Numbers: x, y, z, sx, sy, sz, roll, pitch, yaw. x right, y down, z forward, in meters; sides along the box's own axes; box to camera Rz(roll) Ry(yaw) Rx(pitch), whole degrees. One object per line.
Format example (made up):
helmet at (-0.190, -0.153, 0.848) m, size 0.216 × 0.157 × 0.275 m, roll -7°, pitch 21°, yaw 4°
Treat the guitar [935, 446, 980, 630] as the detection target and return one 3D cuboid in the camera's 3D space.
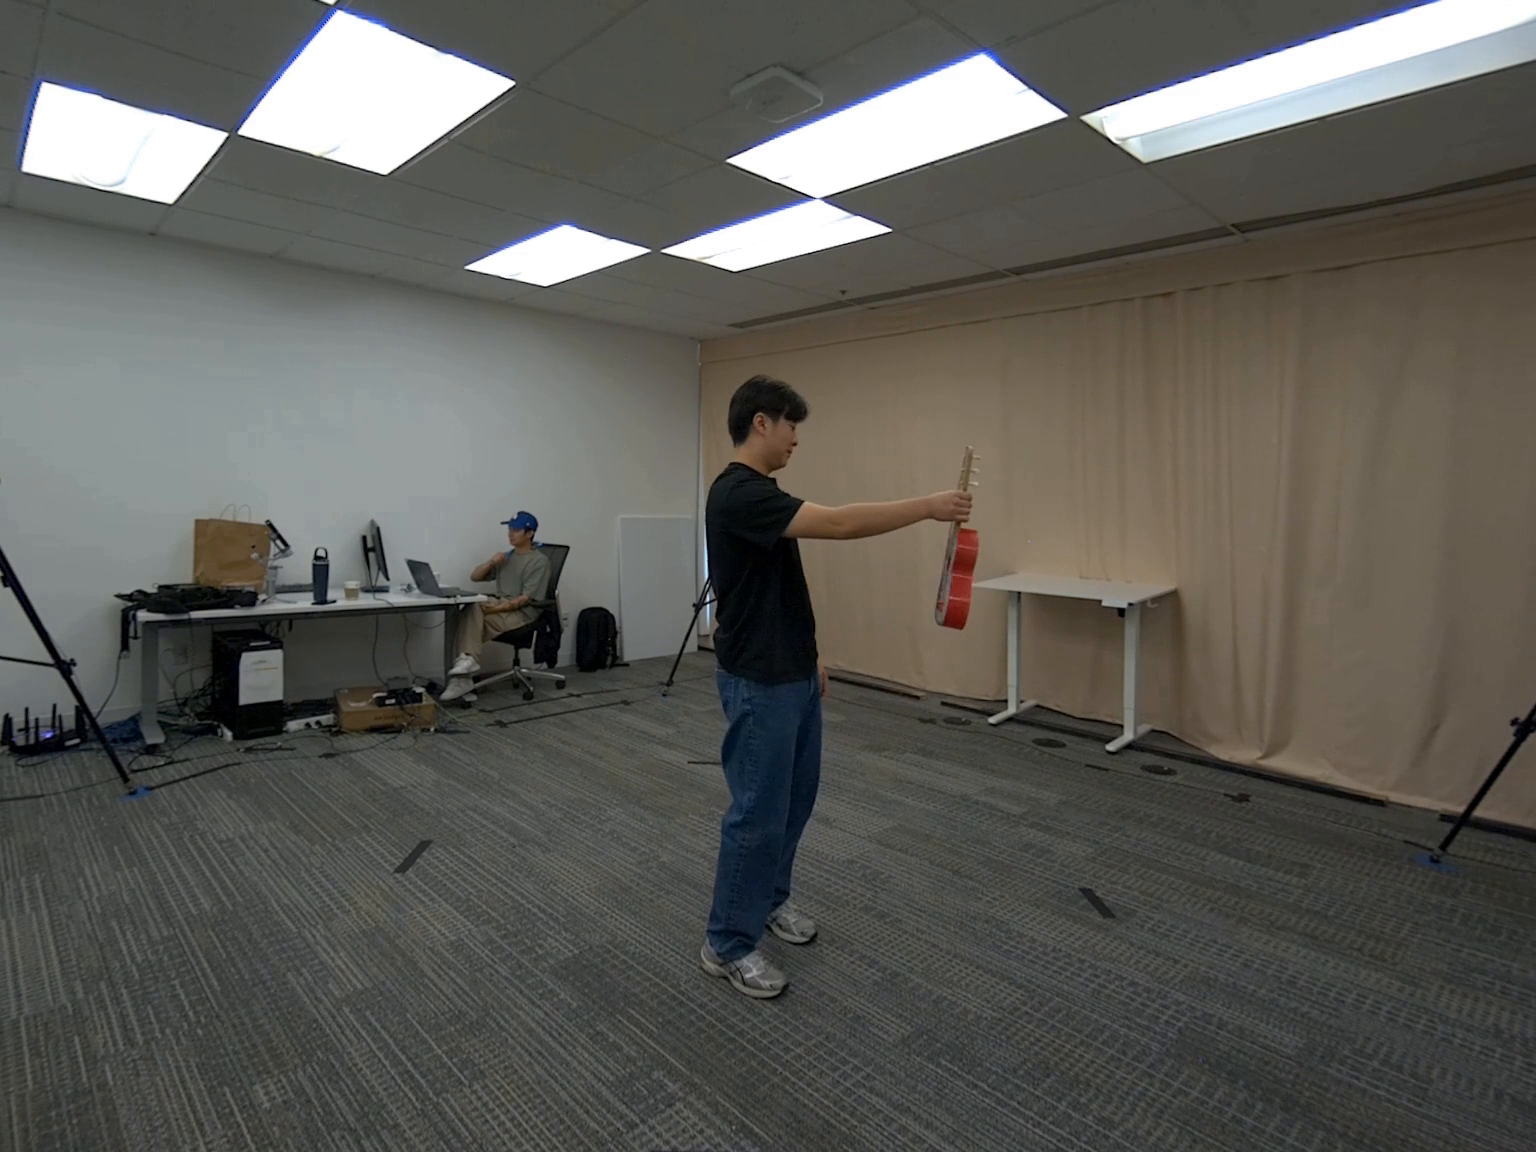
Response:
guitar at (0.524, -0.094, 2.288) m, size 0.071 × 0.494 × 0.193 m, roll 9°, pitch 12°, yaw 4°
